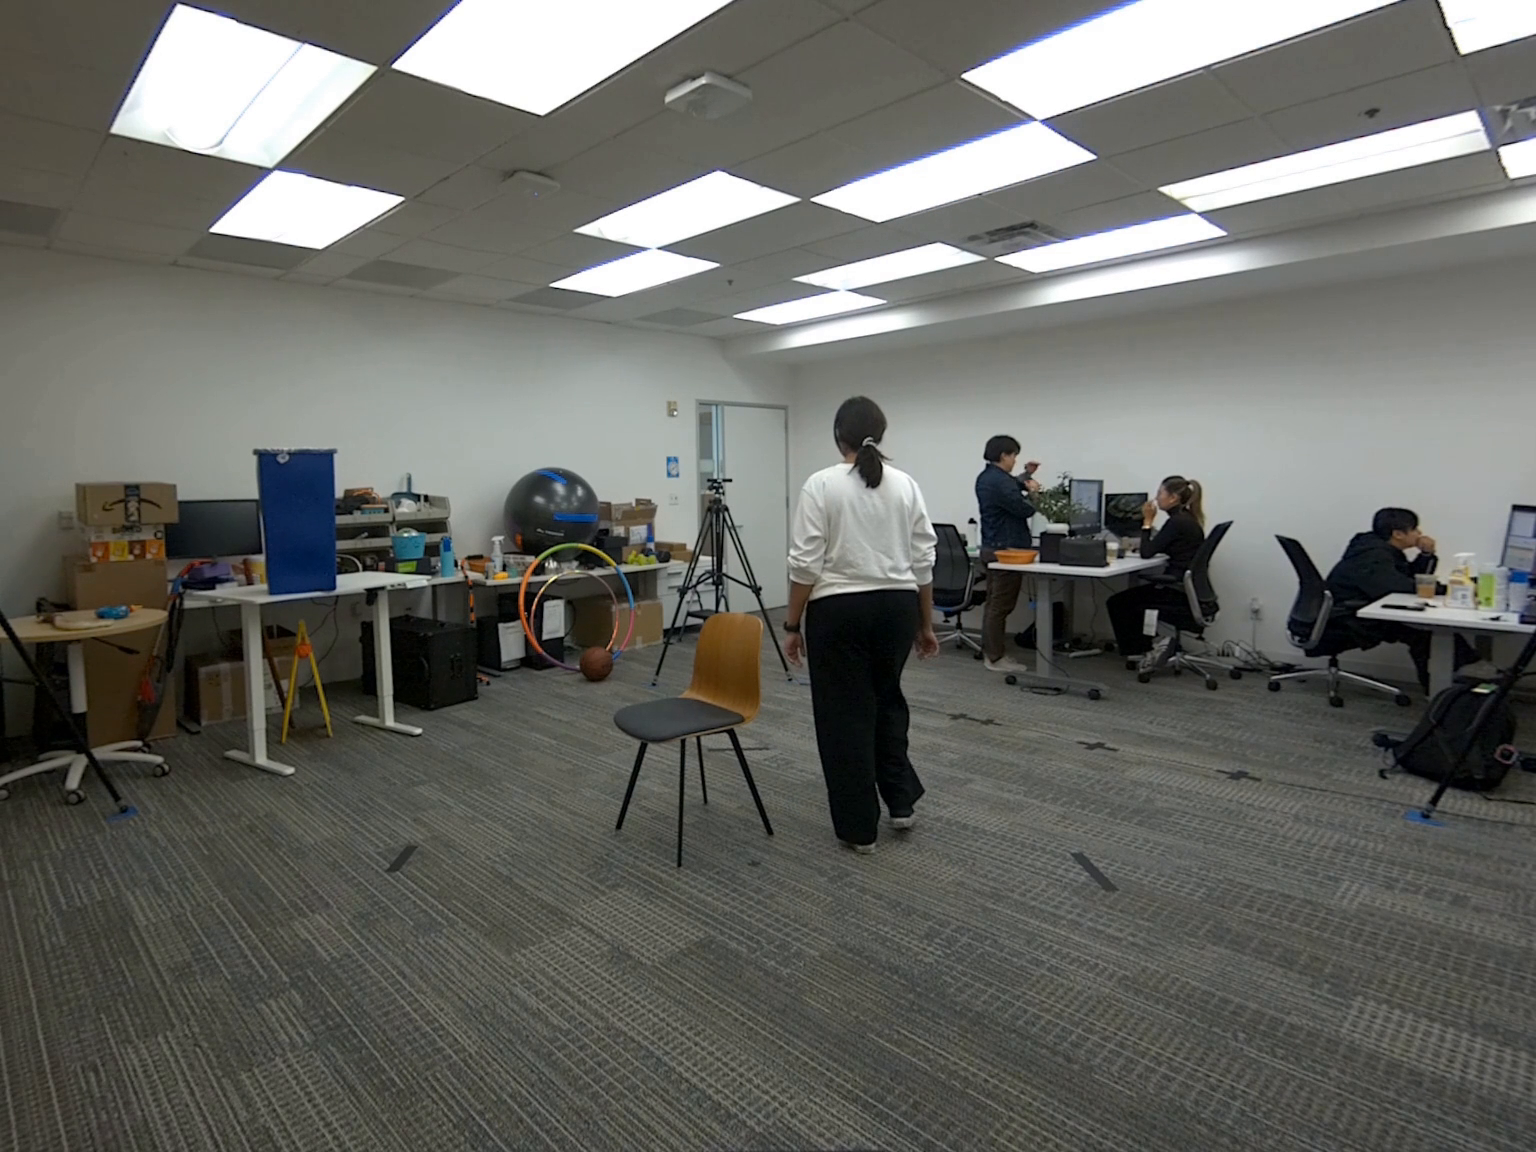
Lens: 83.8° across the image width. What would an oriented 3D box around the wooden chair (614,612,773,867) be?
[{"bbox_3d":[-0.306,0.593,3.359,0.508,0.877,0.492,2,1,-40],"label":"wooden chair"}]
